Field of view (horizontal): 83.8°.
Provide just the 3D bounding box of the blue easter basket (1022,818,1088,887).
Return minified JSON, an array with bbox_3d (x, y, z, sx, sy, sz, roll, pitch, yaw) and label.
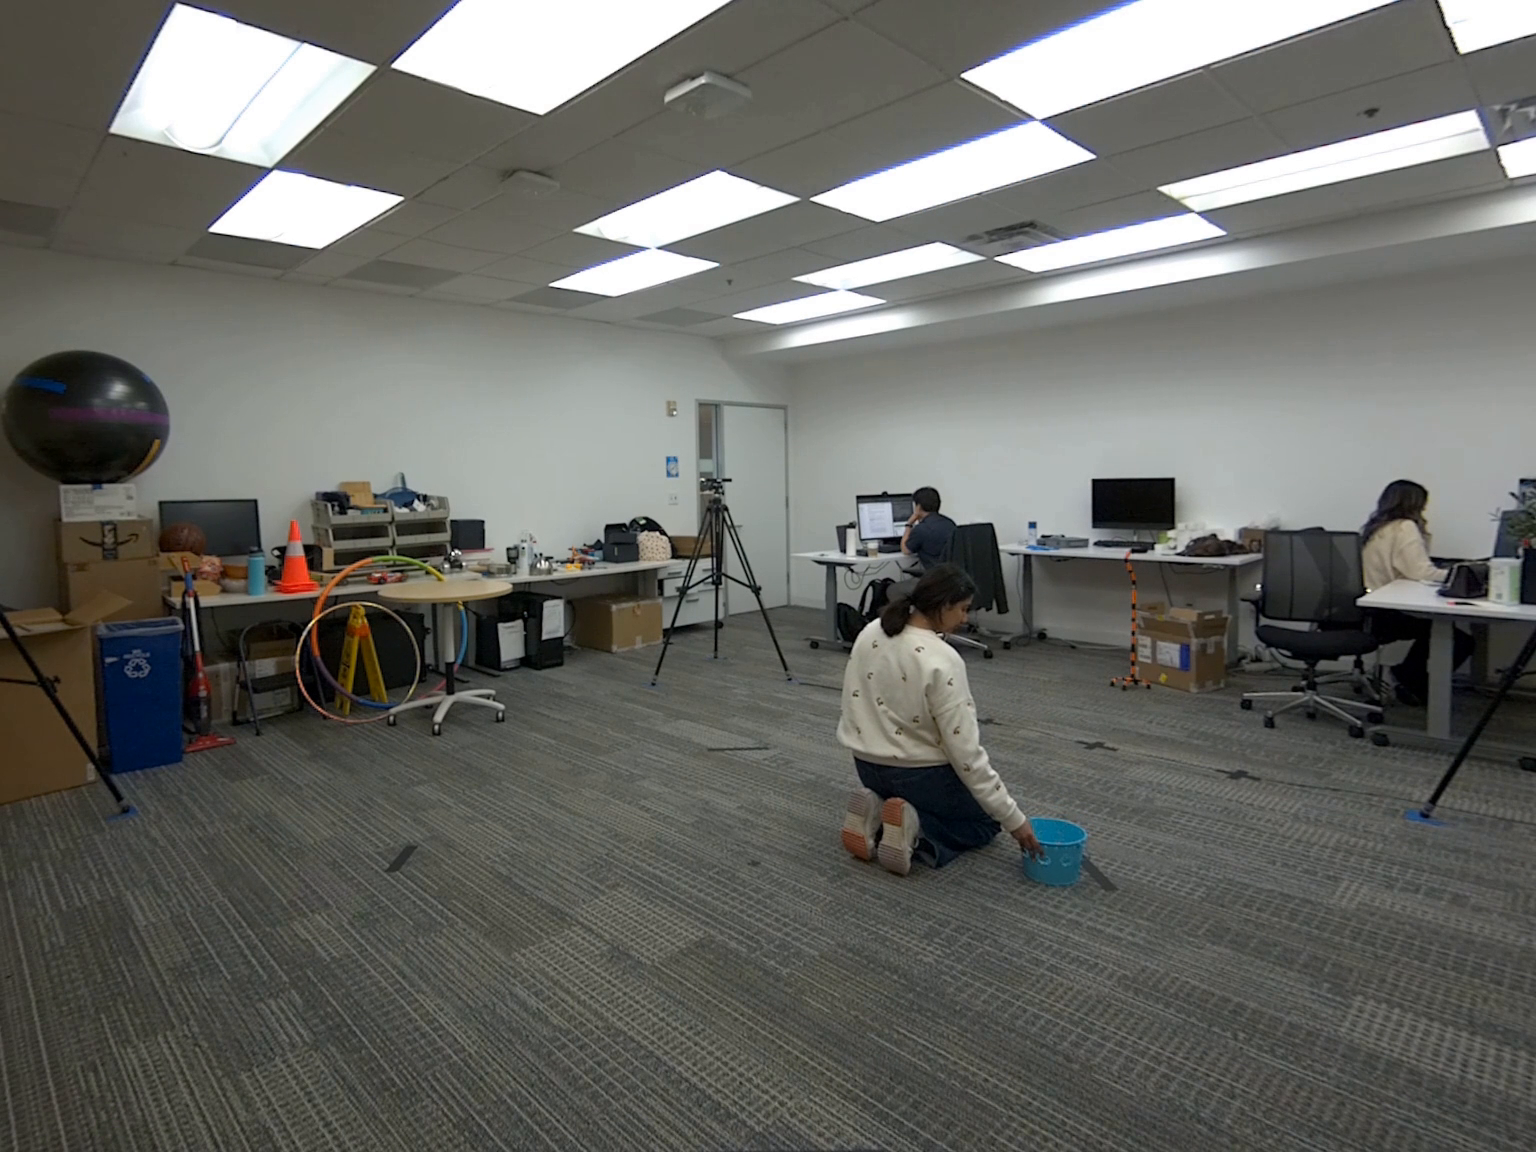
[{"bbox_3d":[0.992,0.956,2.978,0.243,0.155,0.245,-1,5,-2],"label":"blue easter basket"}]
